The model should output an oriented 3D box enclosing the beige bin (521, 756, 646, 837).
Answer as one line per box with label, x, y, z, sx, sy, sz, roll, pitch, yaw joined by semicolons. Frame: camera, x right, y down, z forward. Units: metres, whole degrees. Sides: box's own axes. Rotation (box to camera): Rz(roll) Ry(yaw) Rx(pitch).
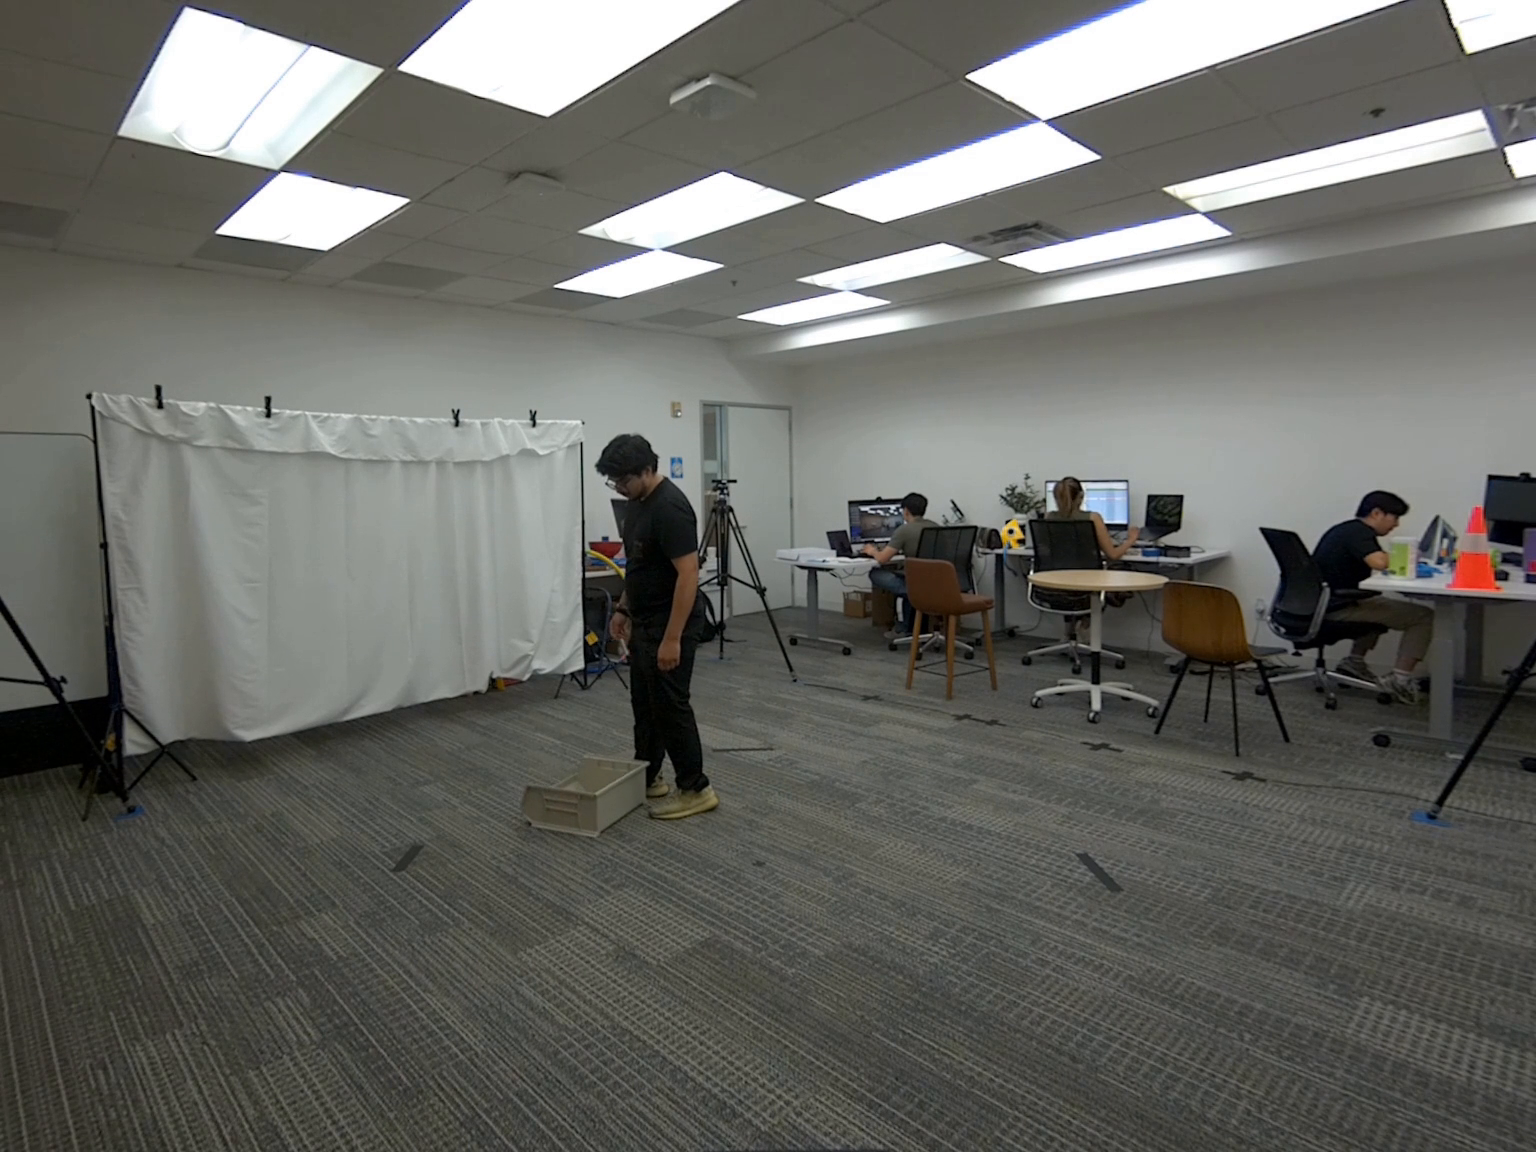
beige bin;-0.760;0.912;3.623;0.386;0.188;0.415;3;7;24
